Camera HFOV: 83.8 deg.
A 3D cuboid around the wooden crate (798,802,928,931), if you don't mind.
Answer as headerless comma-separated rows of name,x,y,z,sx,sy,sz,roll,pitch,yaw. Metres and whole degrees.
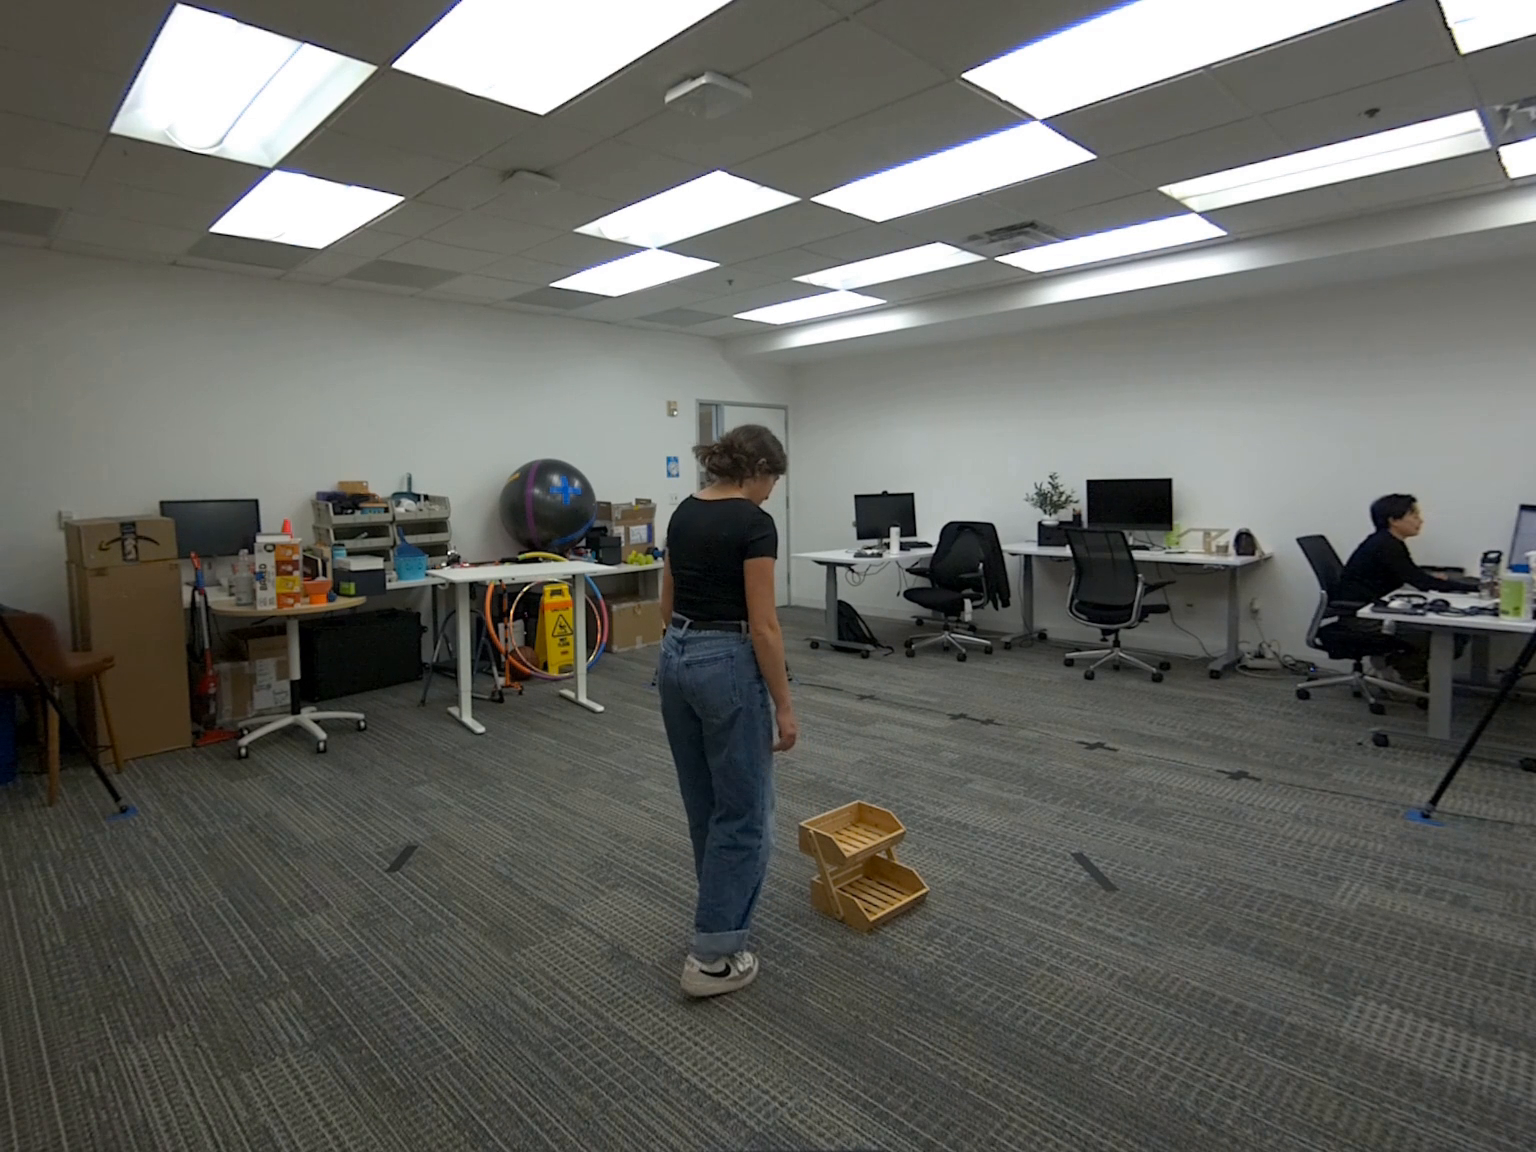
wooden crate,0.320,0.941,2.803,0.316,0.272,0.311,-6,7,-42
